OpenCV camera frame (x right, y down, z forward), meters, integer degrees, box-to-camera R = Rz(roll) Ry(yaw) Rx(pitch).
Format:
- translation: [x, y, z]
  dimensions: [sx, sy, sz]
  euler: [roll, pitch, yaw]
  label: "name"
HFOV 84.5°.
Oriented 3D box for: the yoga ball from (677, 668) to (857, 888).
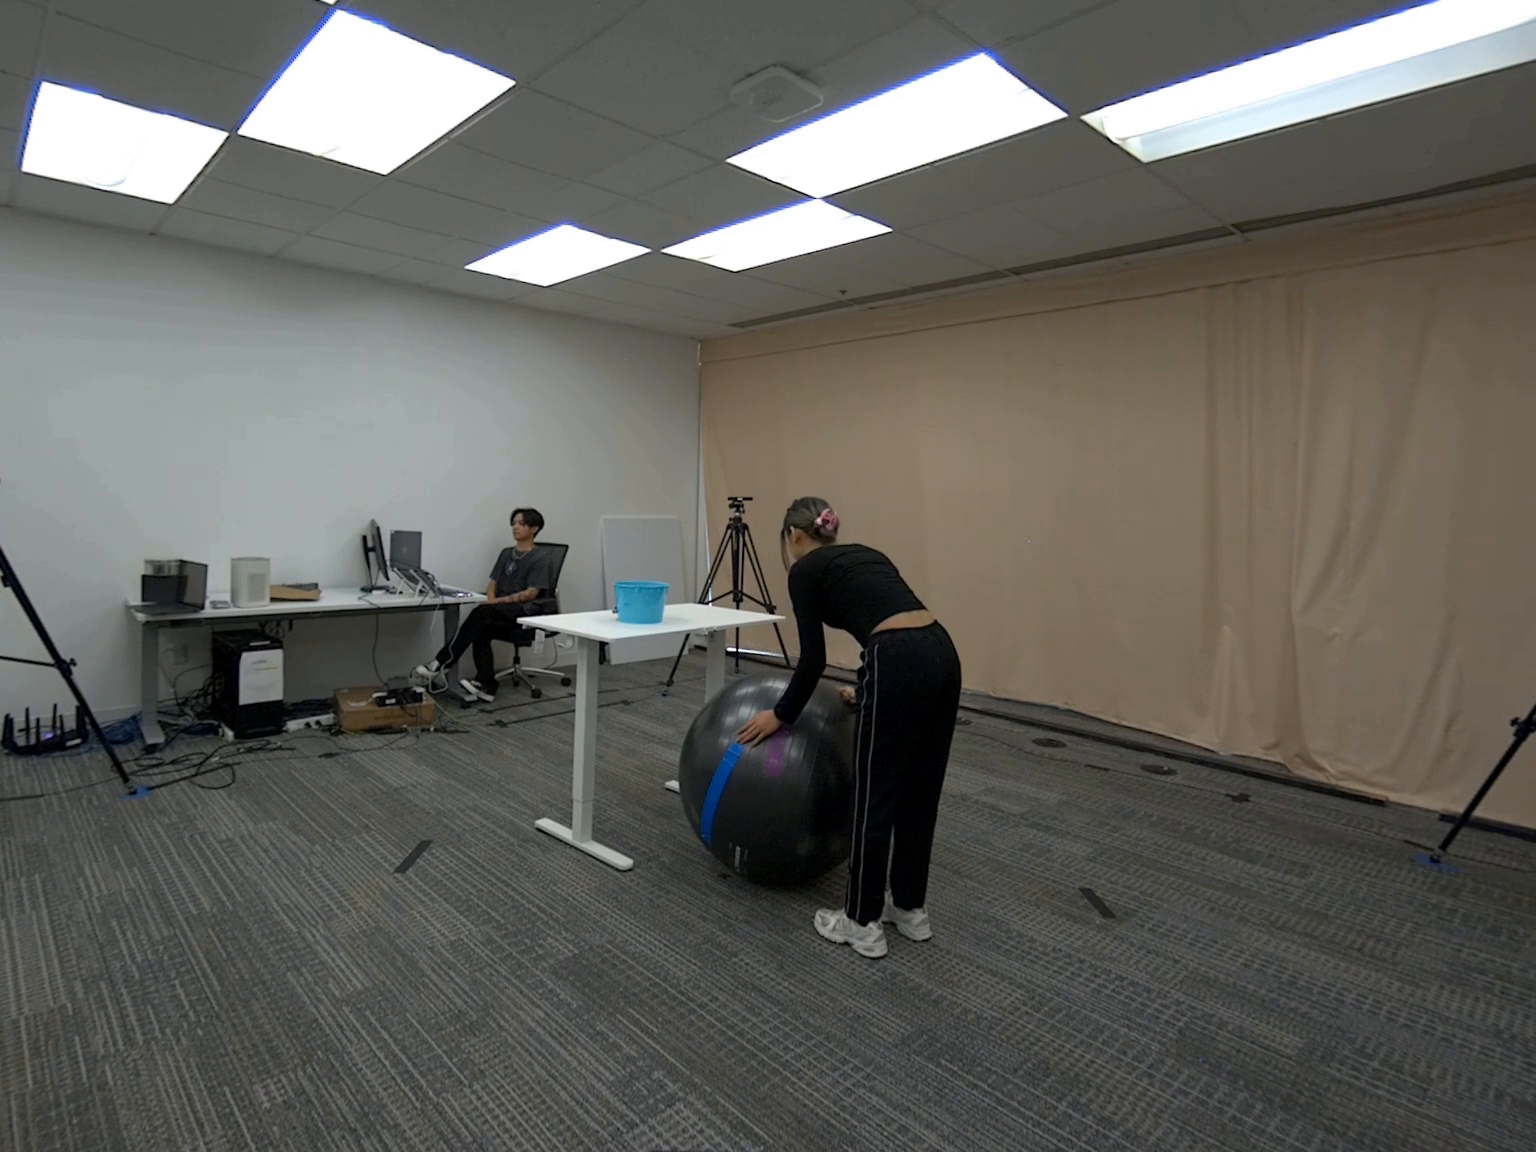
- translation: [0.043, 0.738, 3.129]
  dimensions: [0.757, 0.756, 0.760]
  euler: [1, 4, -1]
  label: "yoga ball"
